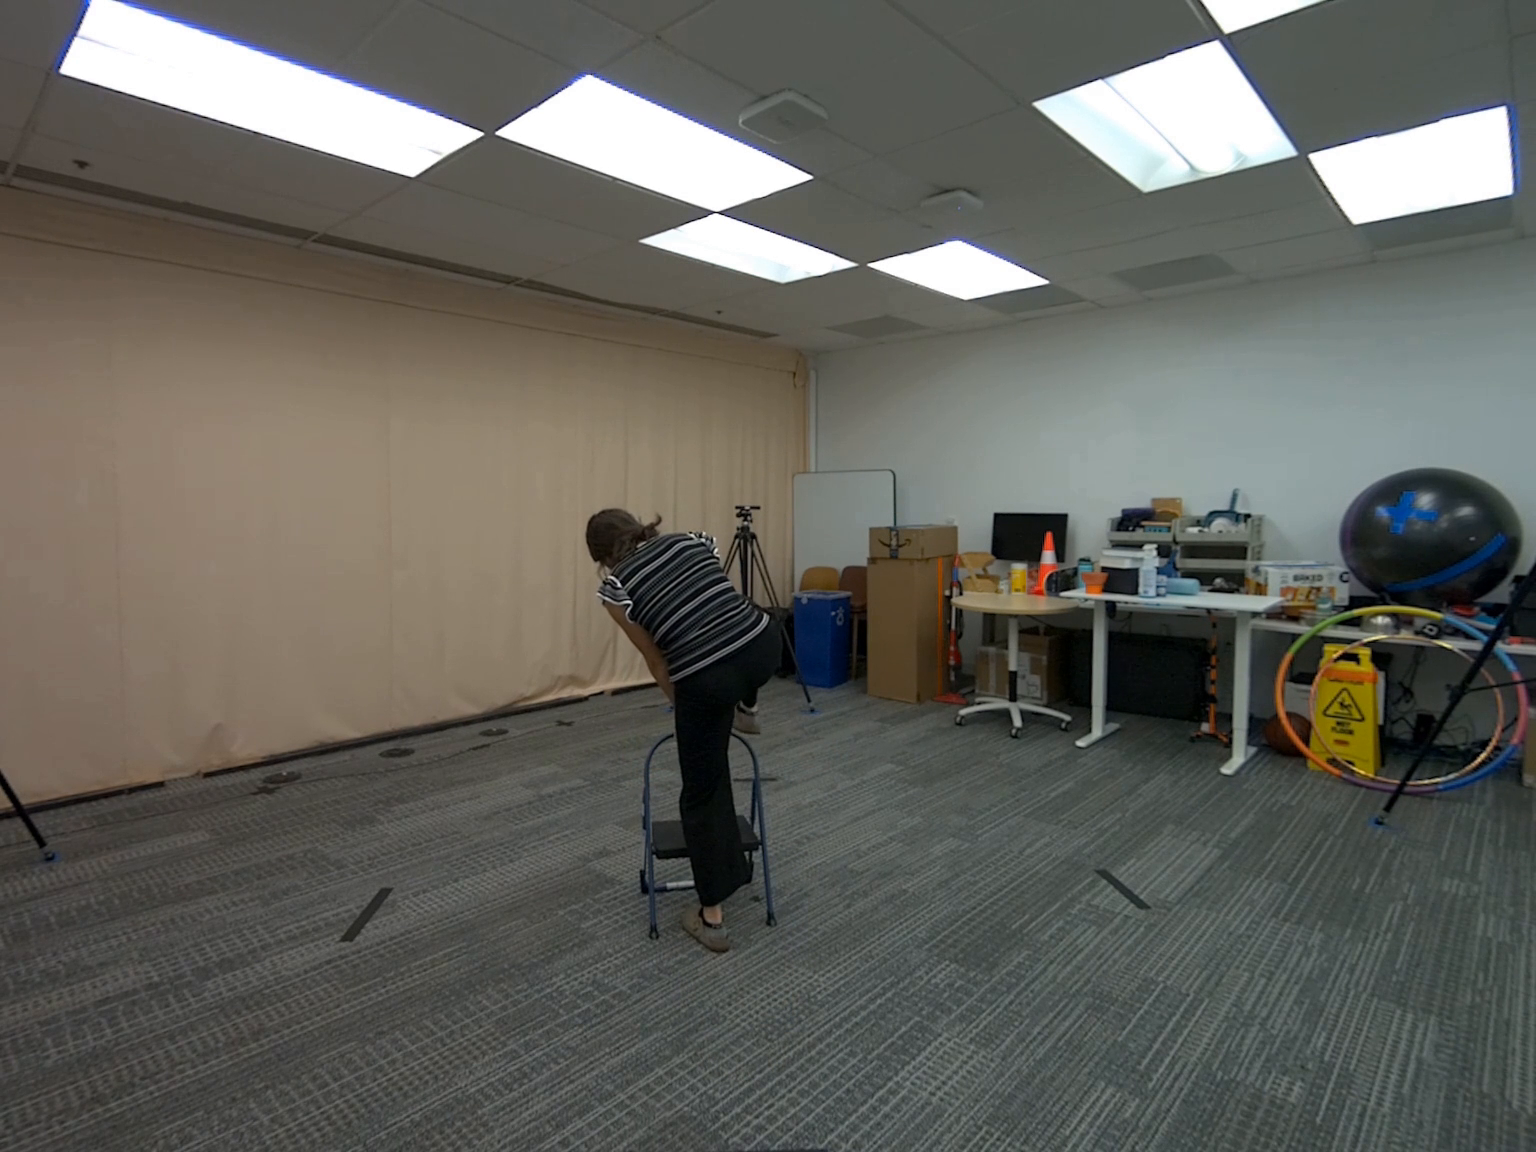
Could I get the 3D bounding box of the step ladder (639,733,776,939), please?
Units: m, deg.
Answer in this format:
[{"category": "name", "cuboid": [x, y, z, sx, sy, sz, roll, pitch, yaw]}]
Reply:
[{"category": "step ladder", "cuboid": [-0.218, 0.852, 2.907, 0.425, 0.605, 0.355, -1, 4, -13]}]
